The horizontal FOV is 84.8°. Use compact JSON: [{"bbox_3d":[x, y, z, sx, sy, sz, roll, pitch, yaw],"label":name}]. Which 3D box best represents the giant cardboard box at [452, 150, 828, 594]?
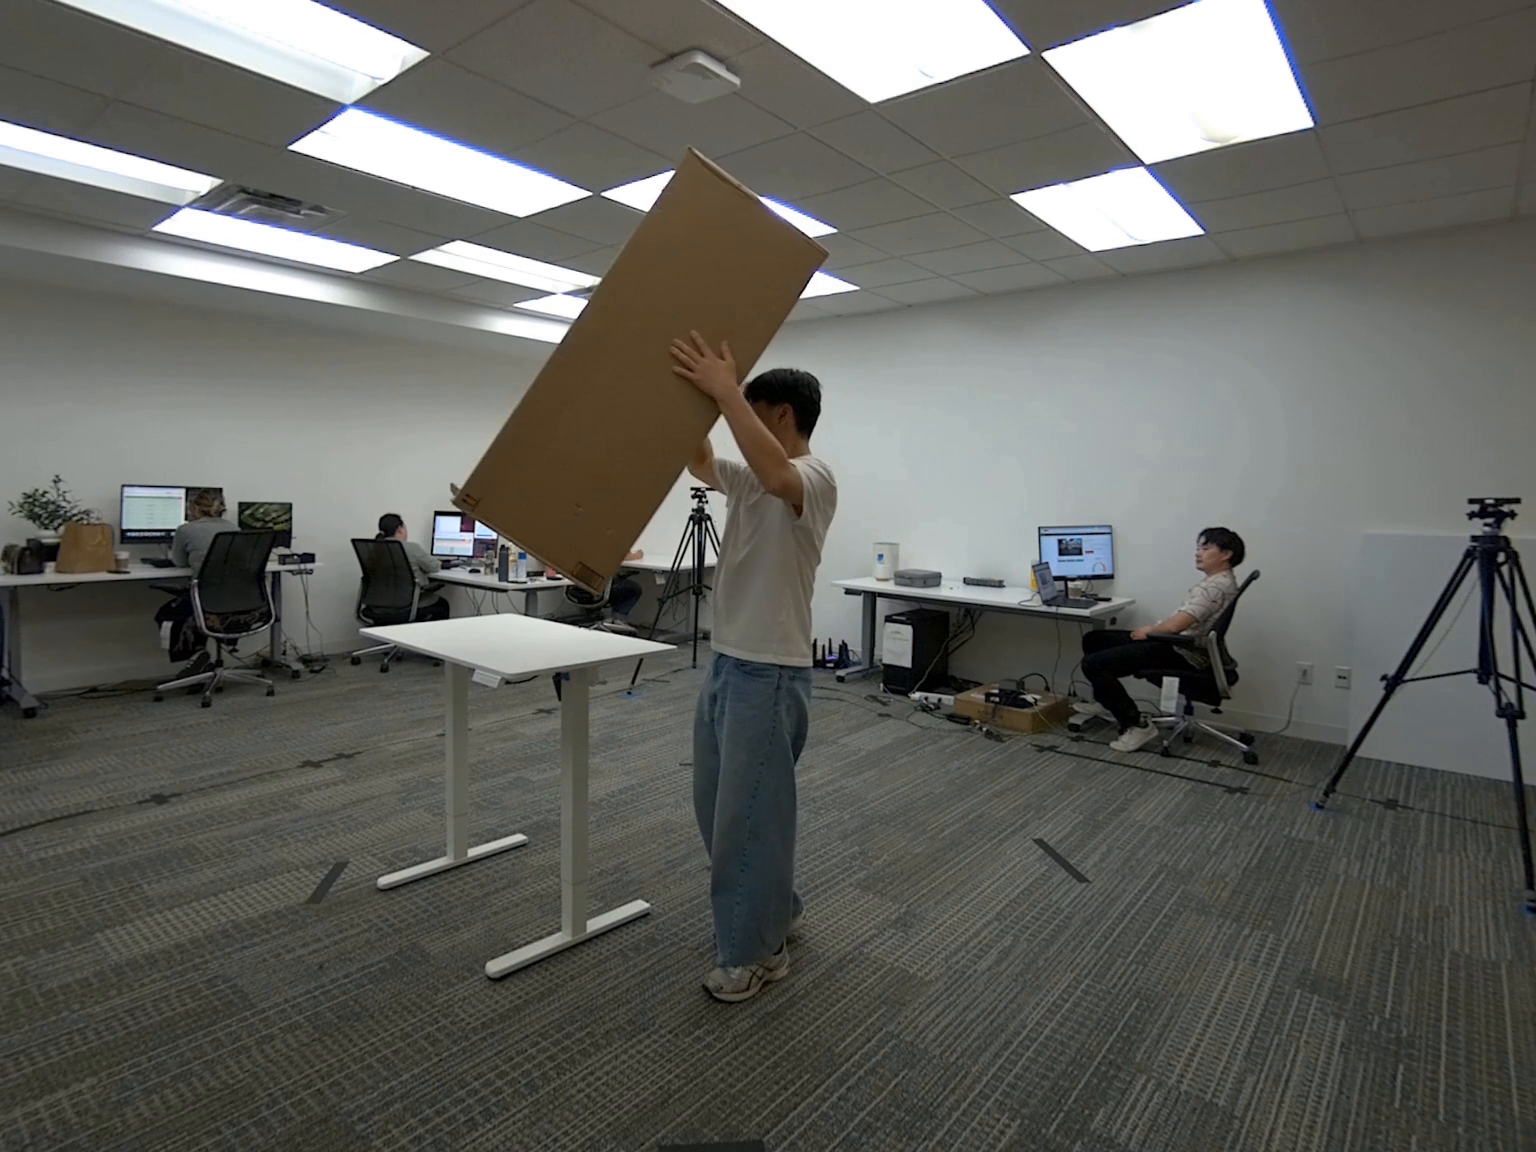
[{"bbox_3d":[-0.370,-0.515,2.325,0.419,1.025,0.588,34,0,-13],"label":"giant cardboard box"}]
